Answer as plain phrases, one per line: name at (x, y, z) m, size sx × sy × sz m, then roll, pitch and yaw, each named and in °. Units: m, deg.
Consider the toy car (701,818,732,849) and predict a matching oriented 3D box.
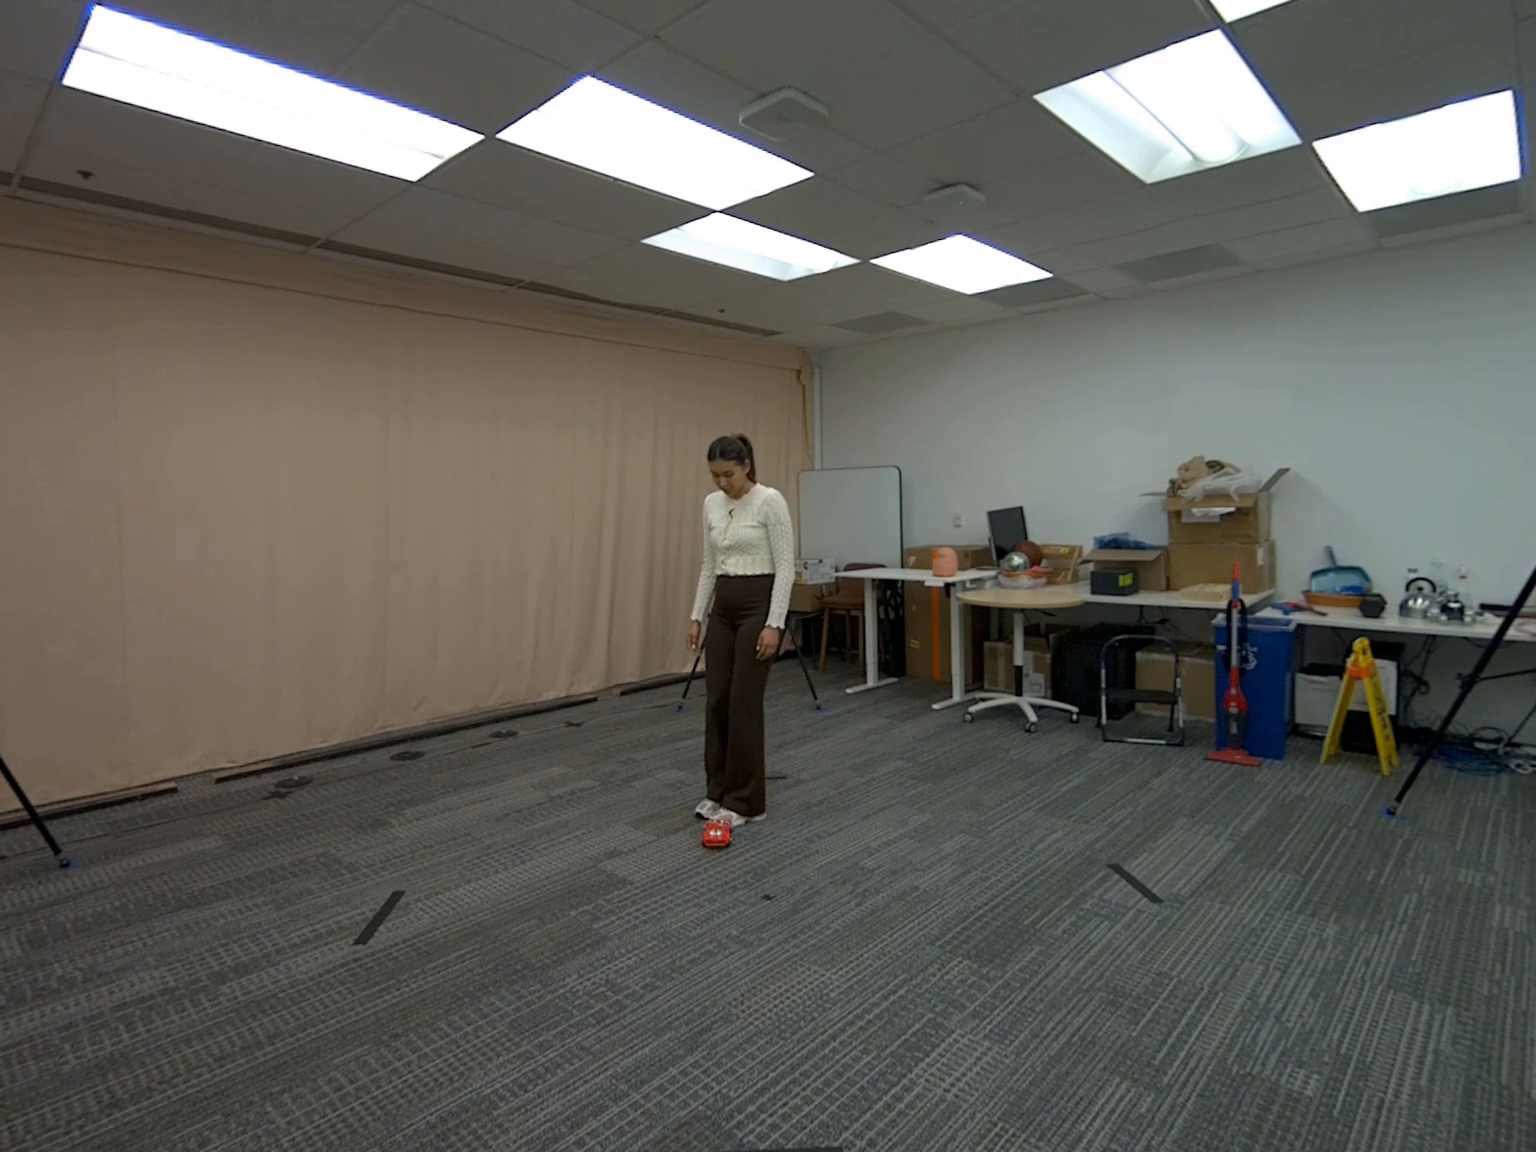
toy car at (-0.214, 1.062, 3.491) m, size 0.130 × 0.083 × 0.253 m, roll 0°, pitch -7°, yaw -1°
